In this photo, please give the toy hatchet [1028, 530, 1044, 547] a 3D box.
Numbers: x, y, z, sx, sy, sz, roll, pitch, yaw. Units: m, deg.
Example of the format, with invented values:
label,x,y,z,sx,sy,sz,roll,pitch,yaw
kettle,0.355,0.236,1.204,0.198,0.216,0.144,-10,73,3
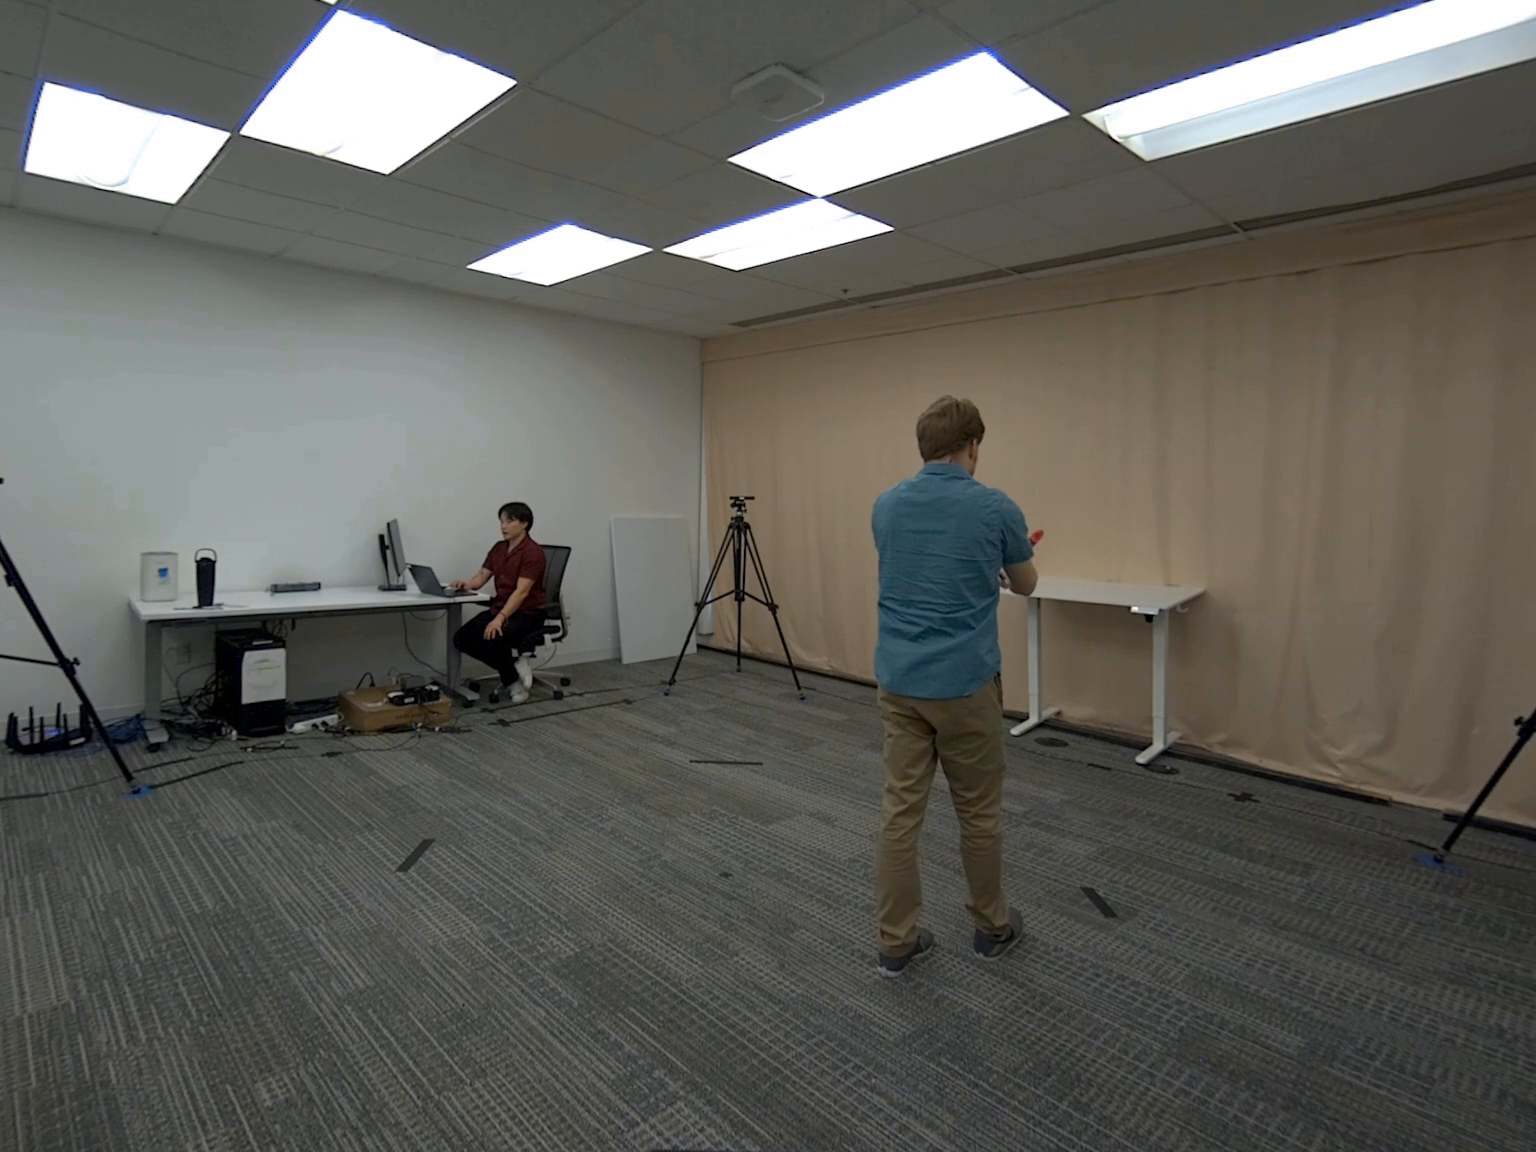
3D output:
label,x,y,z,sx,sy,sz,roll,pitch,yaw
toy hatchet,0.848,-0.060,2.894,0.270,0.030,0.128,-43,-16,15
